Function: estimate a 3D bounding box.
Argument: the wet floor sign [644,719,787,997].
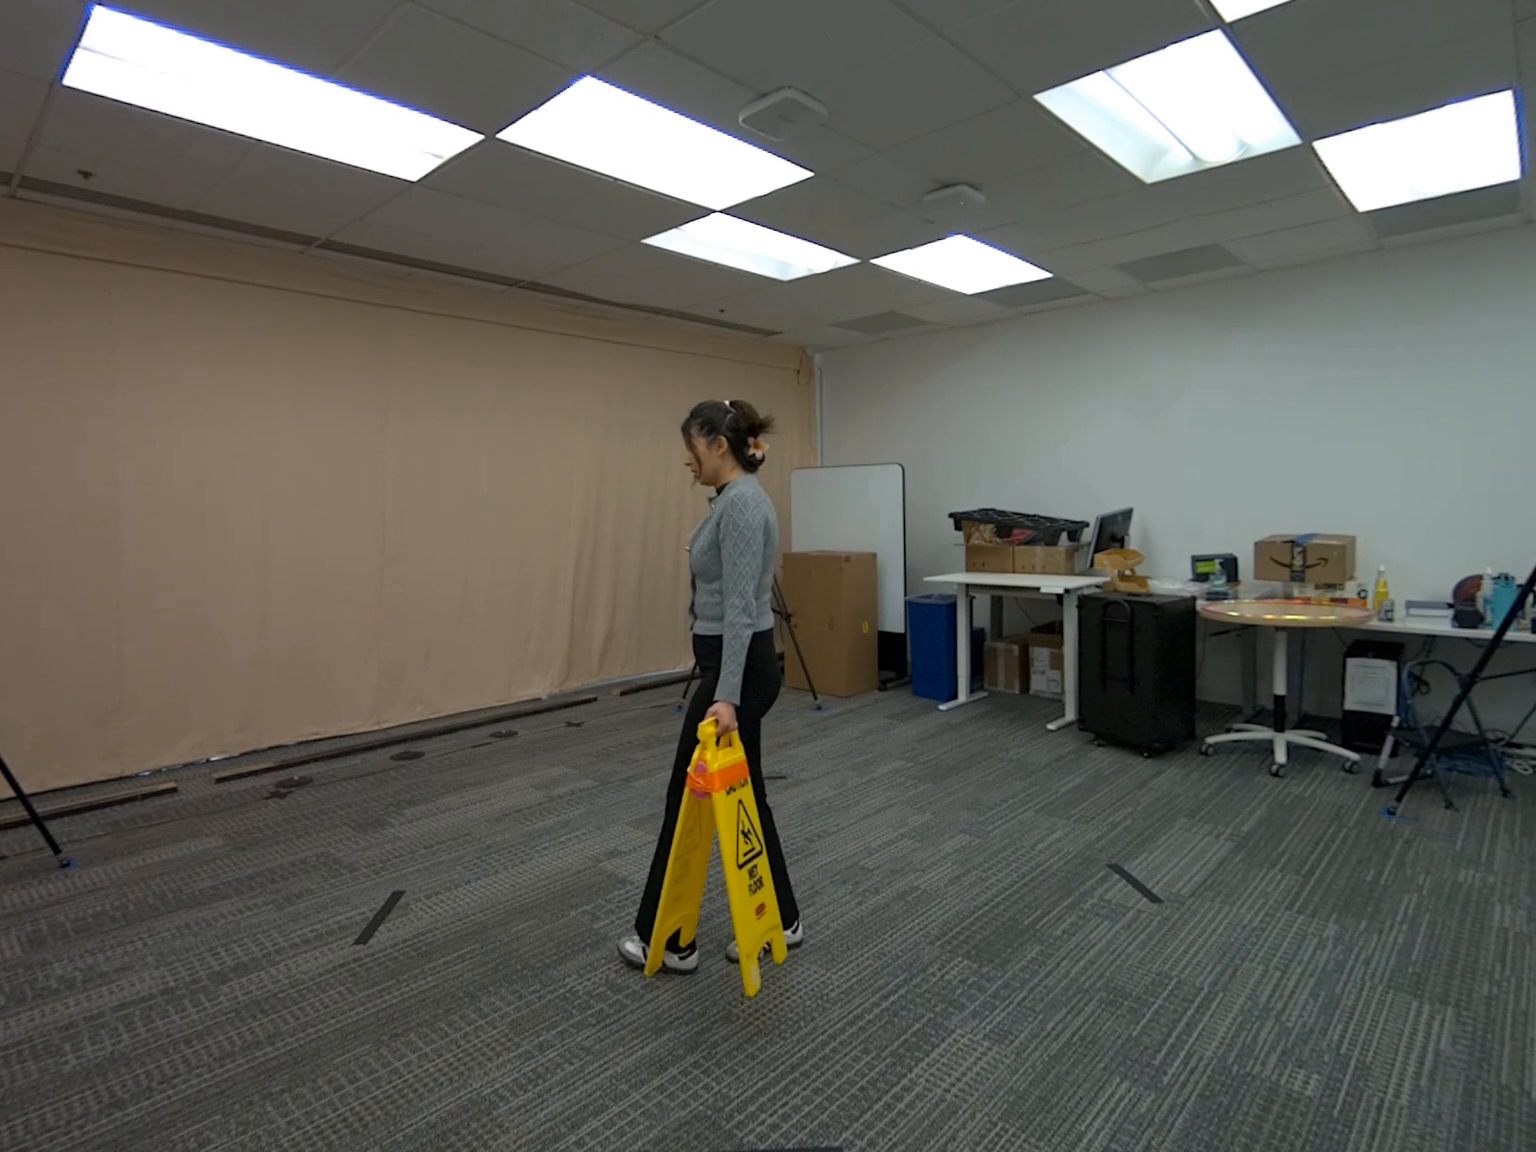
[{"bbox_3d":[-0.134,0.699,2.231,0.296,0.648,0.275,-2,-4,21],"label":"wet floor sign"}]
